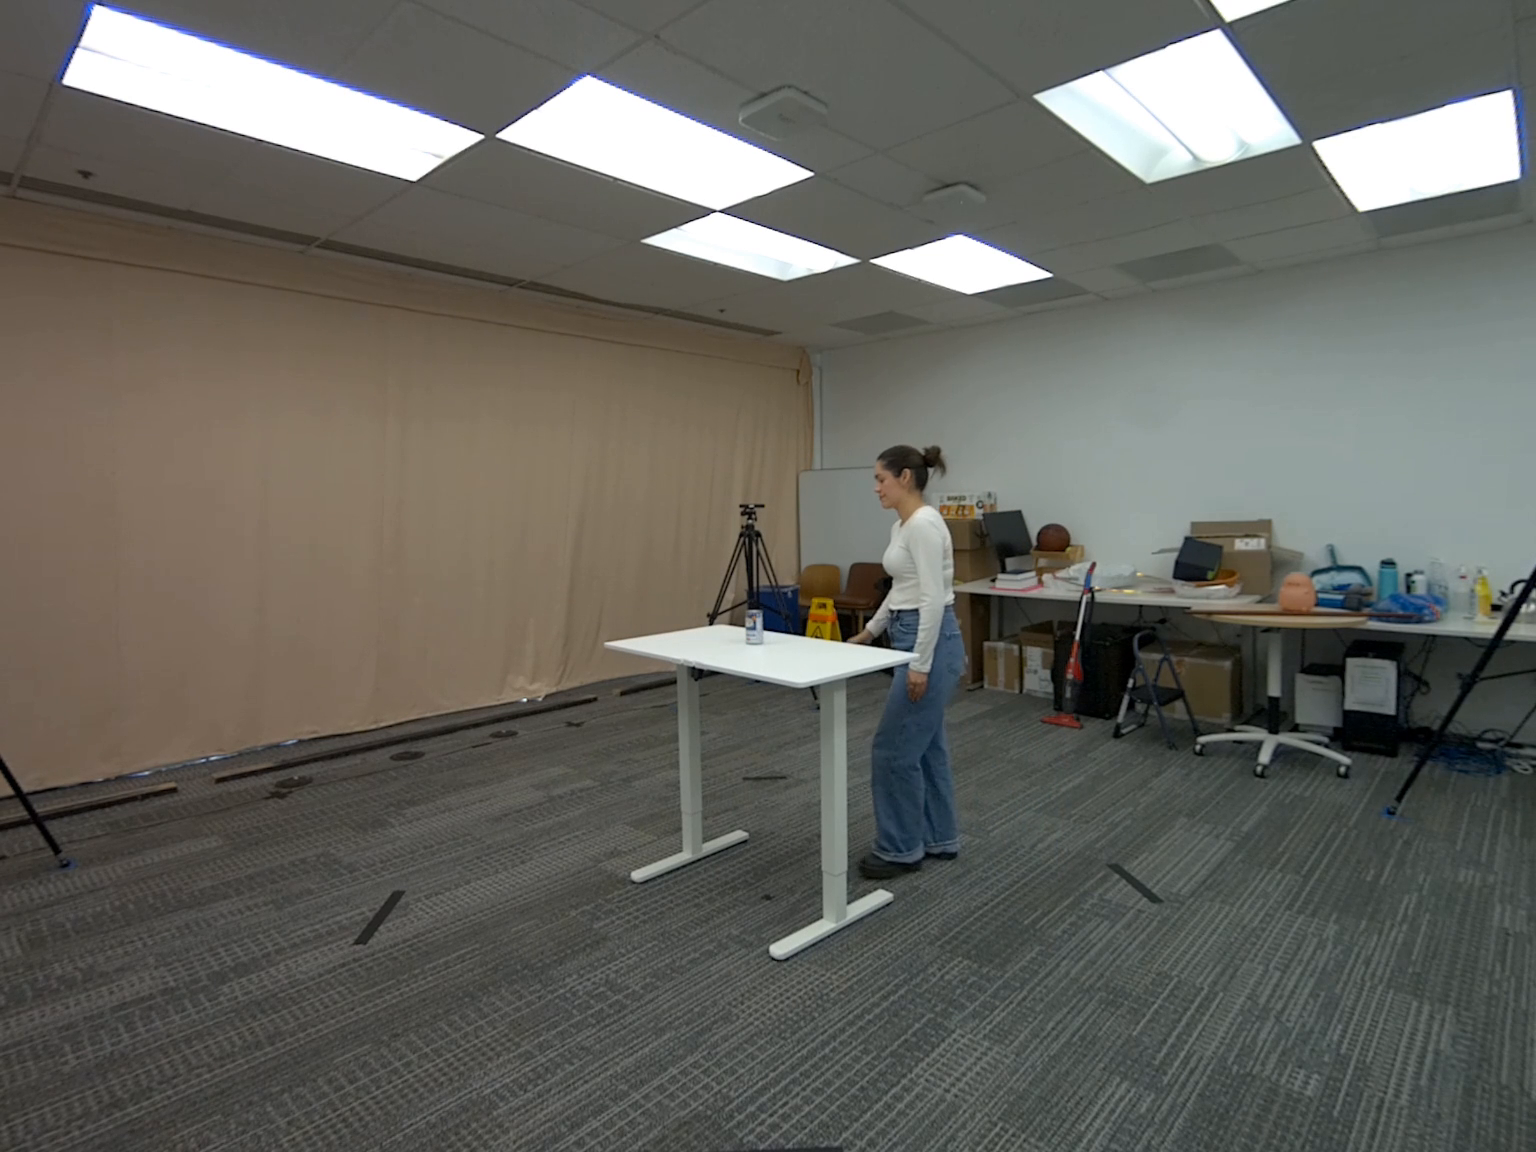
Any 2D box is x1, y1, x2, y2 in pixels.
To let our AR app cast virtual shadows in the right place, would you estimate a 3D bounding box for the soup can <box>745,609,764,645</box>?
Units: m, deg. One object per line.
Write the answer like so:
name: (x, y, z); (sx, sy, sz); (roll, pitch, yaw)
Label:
soup can: (-0.042, 0.191, 3.092); (0.067, 0.121, 0.067); (0, 2, -2)
